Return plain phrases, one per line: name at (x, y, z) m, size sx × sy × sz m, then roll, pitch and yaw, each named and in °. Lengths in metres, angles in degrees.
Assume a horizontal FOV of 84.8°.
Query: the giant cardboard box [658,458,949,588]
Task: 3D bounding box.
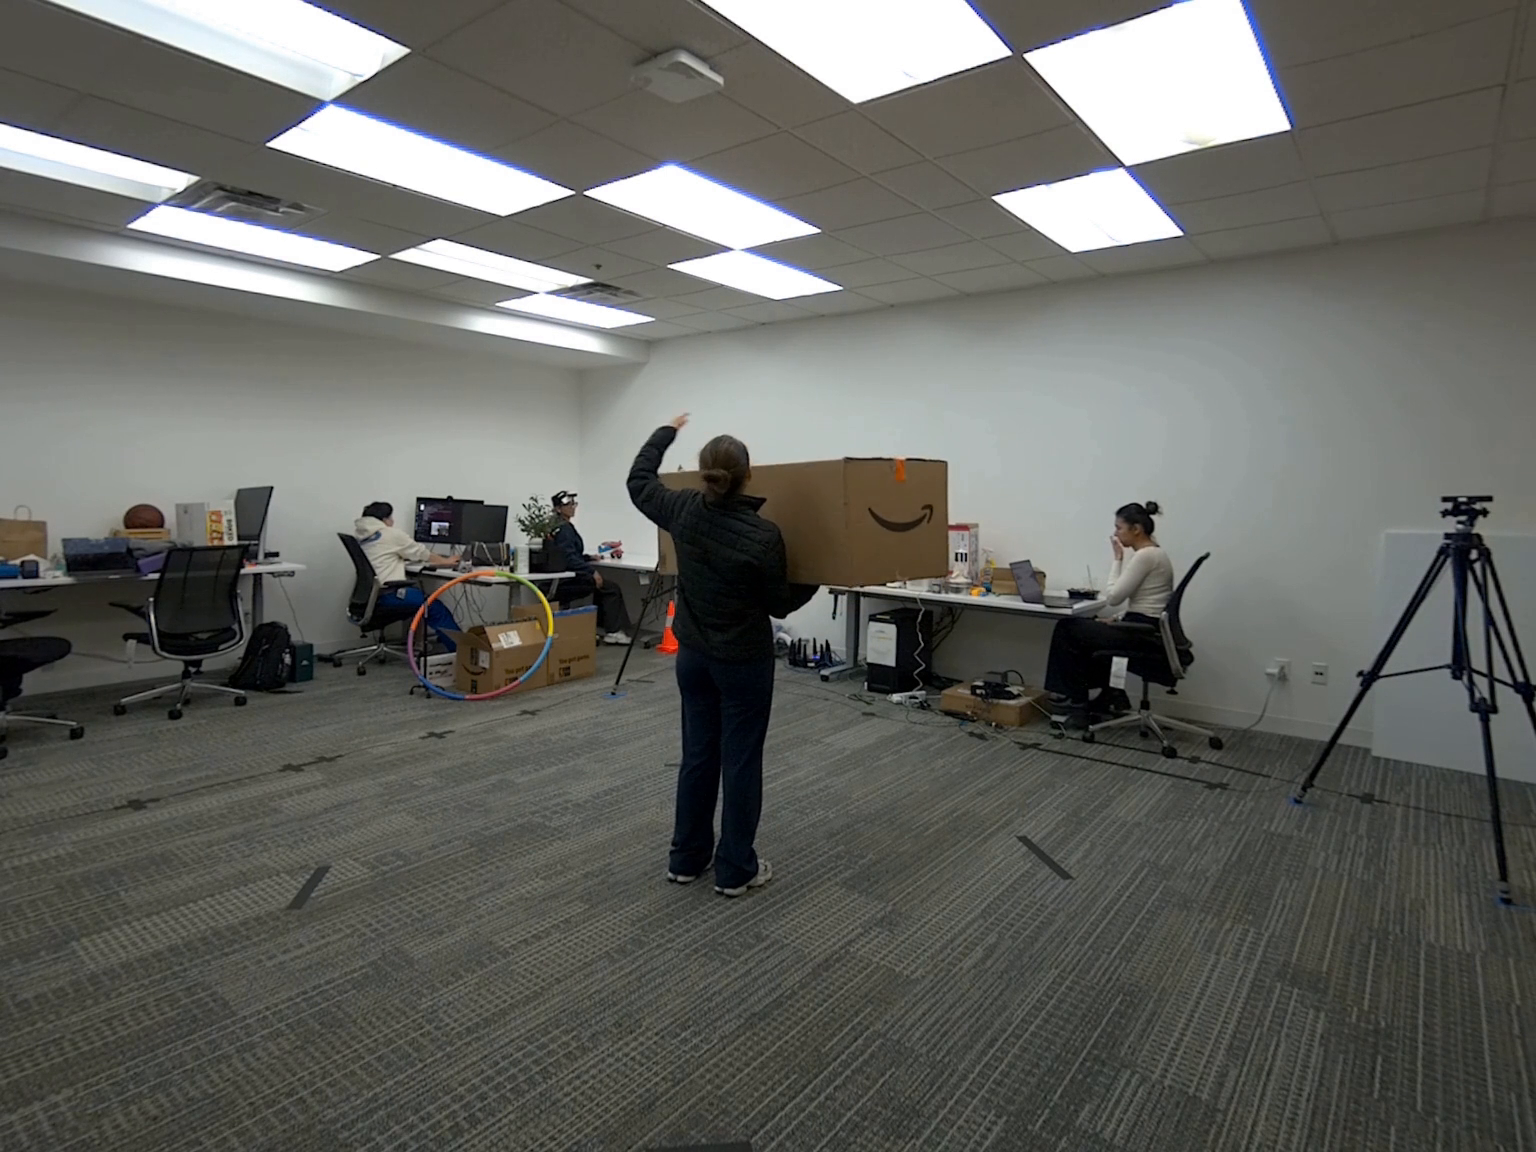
giant cardboard box at (0.110, -0.216, 3.316) m, size 0.560 × 0.425 × 1.059 m, roll -4°, pitch 4°, yaw -42°
